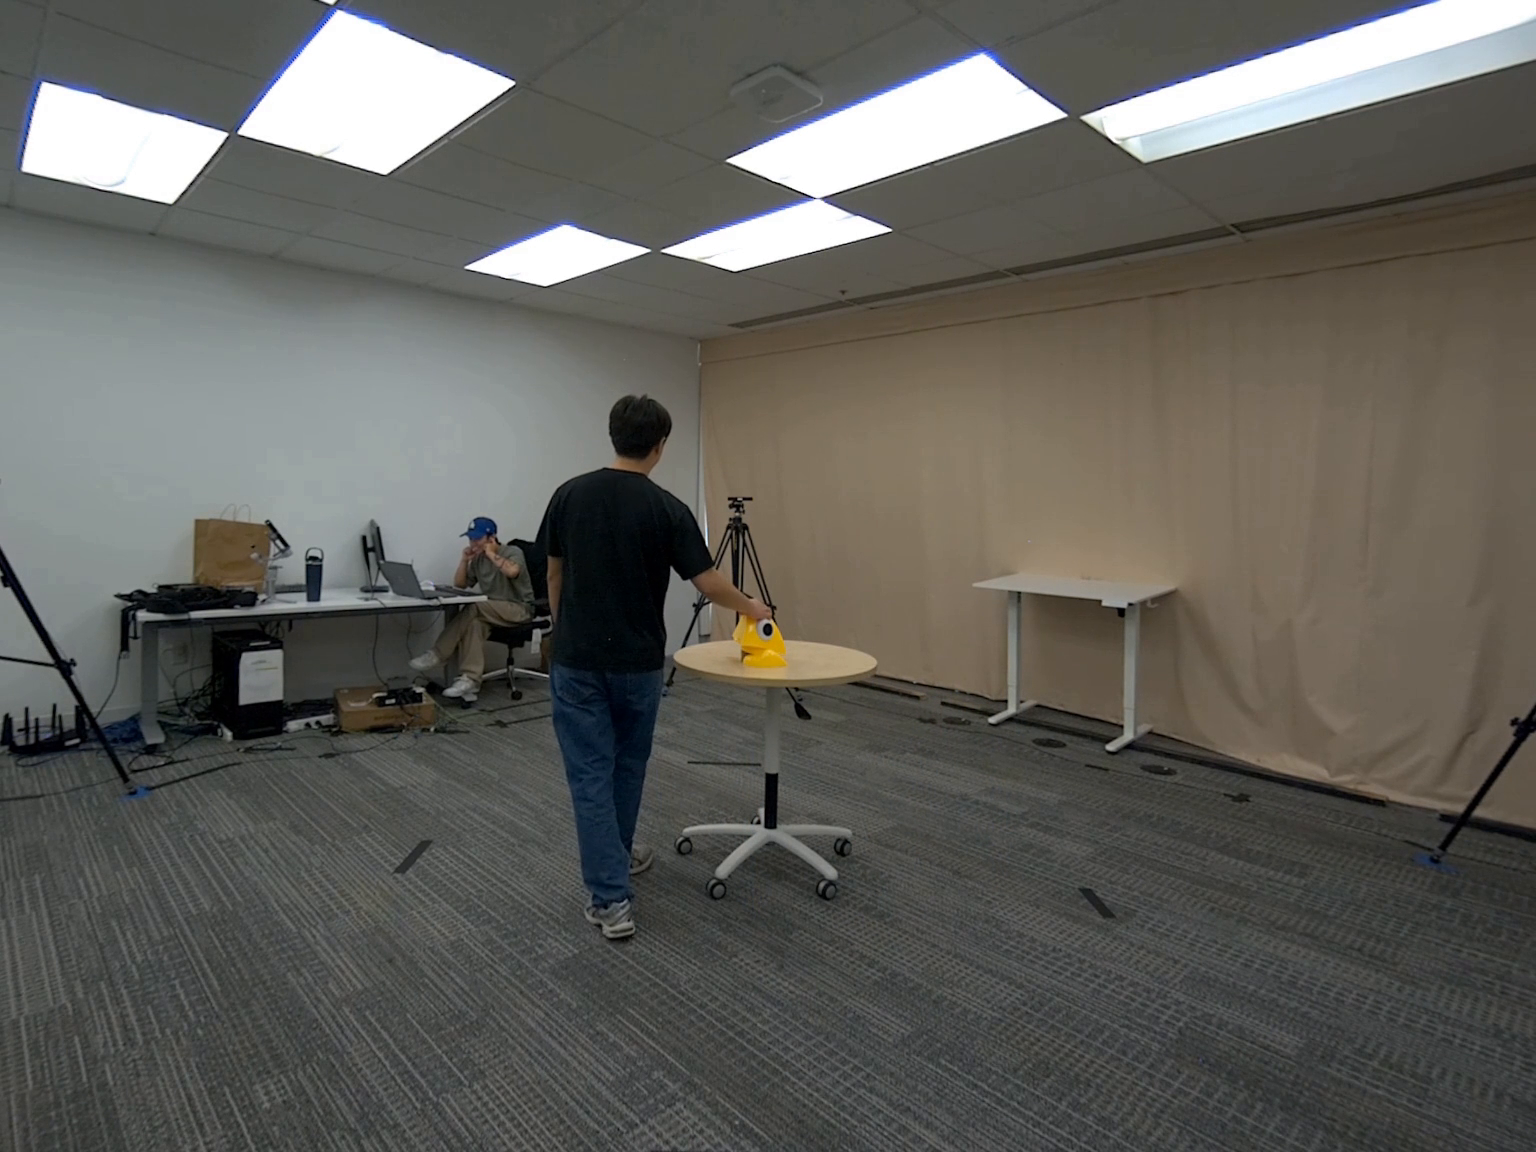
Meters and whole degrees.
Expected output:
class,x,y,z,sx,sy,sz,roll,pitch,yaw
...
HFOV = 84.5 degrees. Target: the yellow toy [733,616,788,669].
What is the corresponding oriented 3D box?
class,x,y,z,sx,sy,sz,roll,pitch,yaw
yellow toy,-0.031,0.202,3.088,0.191,0.230,0.206,0,2,-10
